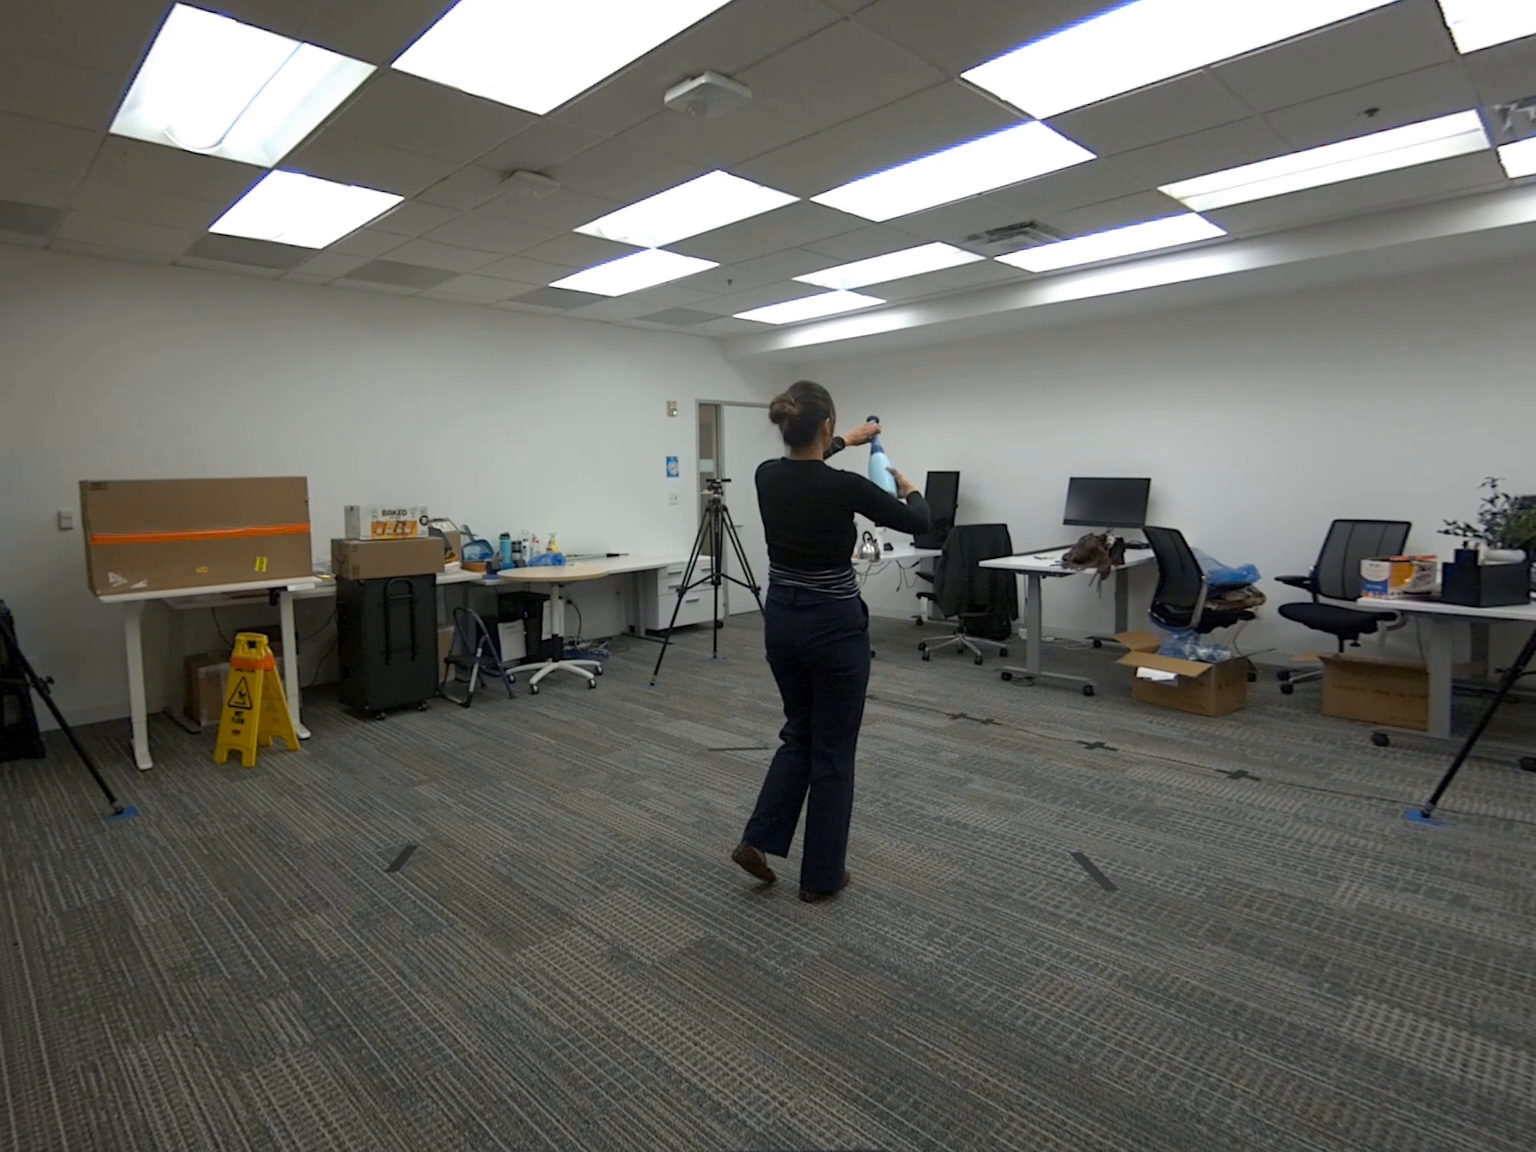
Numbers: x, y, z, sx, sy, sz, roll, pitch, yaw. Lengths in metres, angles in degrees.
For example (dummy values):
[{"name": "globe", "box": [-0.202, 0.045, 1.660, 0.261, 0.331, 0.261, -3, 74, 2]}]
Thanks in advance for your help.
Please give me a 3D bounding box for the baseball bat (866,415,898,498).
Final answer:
[{"name": "baseball bat", "box": [0.406, -0.441, 3.176, 0.089, 0.086, 0.556, -1, 40, 3]}]
